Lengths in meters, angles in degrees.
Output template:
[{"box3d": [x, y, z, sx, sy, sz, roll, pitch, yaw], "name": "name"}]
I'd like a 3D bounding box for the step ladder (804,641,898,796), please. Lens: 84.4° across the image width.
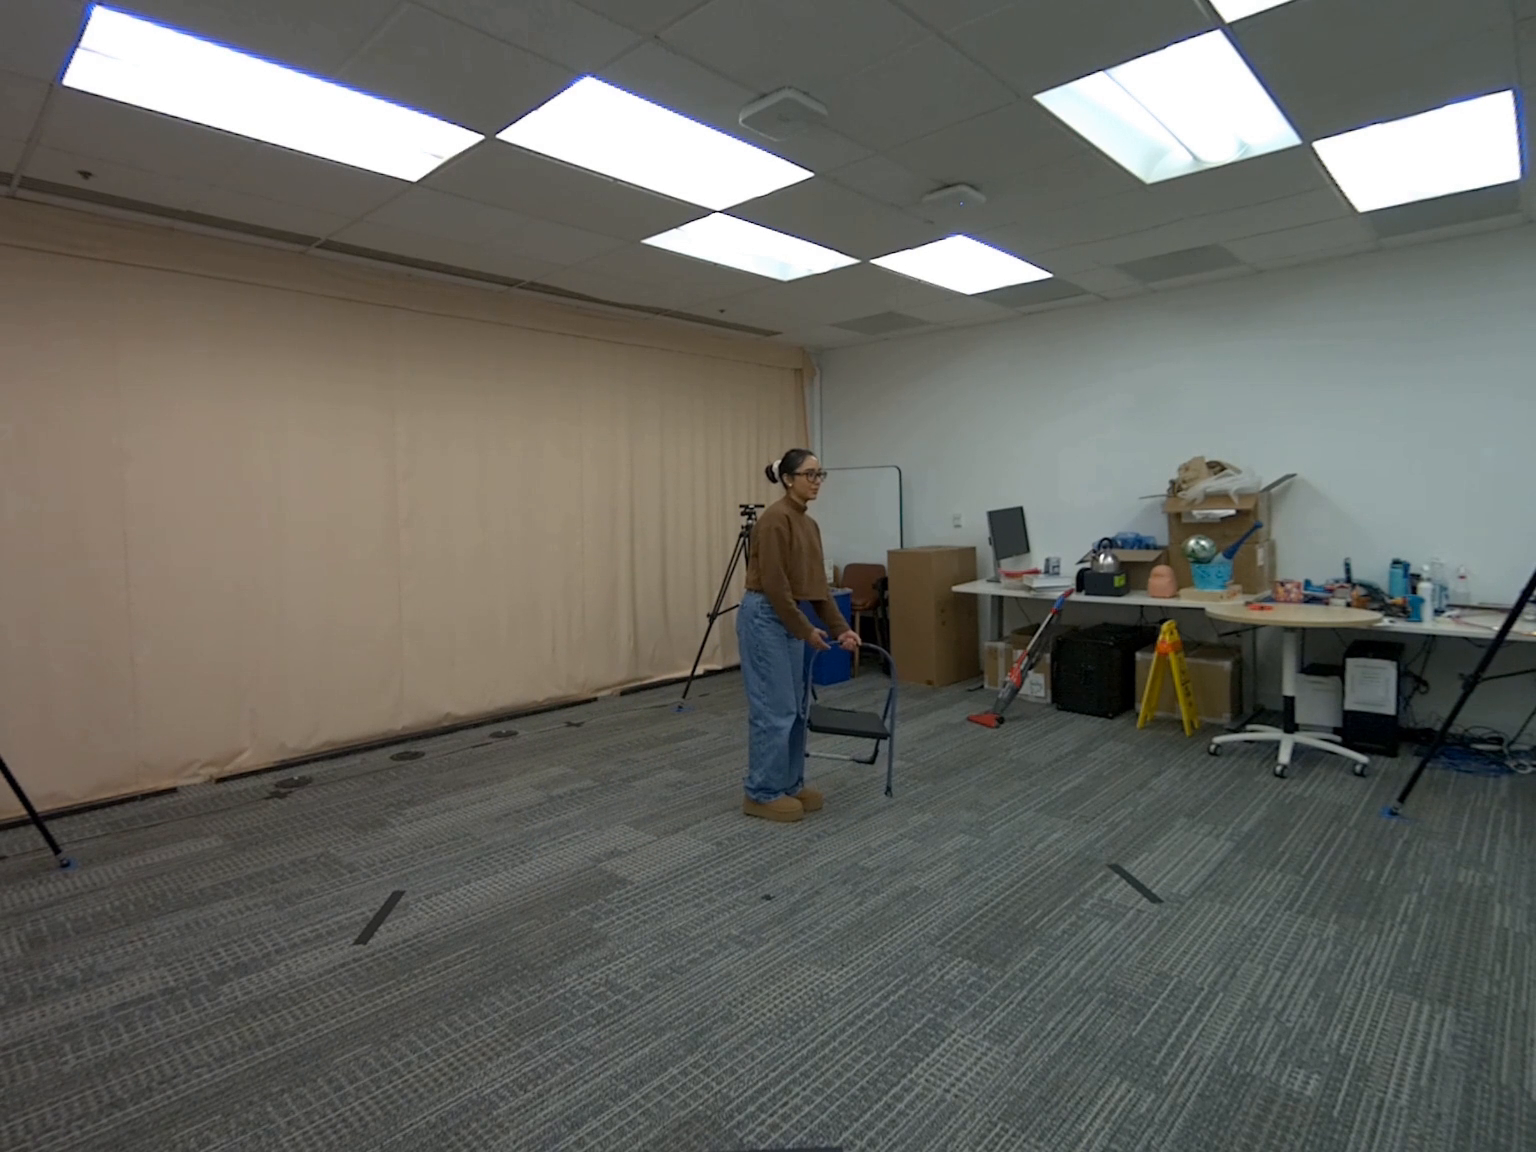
[{"box3d": [0.373, 0.616, 3.795, 0.429, 0.603, 0.353, 7, 11, -4], "name": "step ladder"}]
